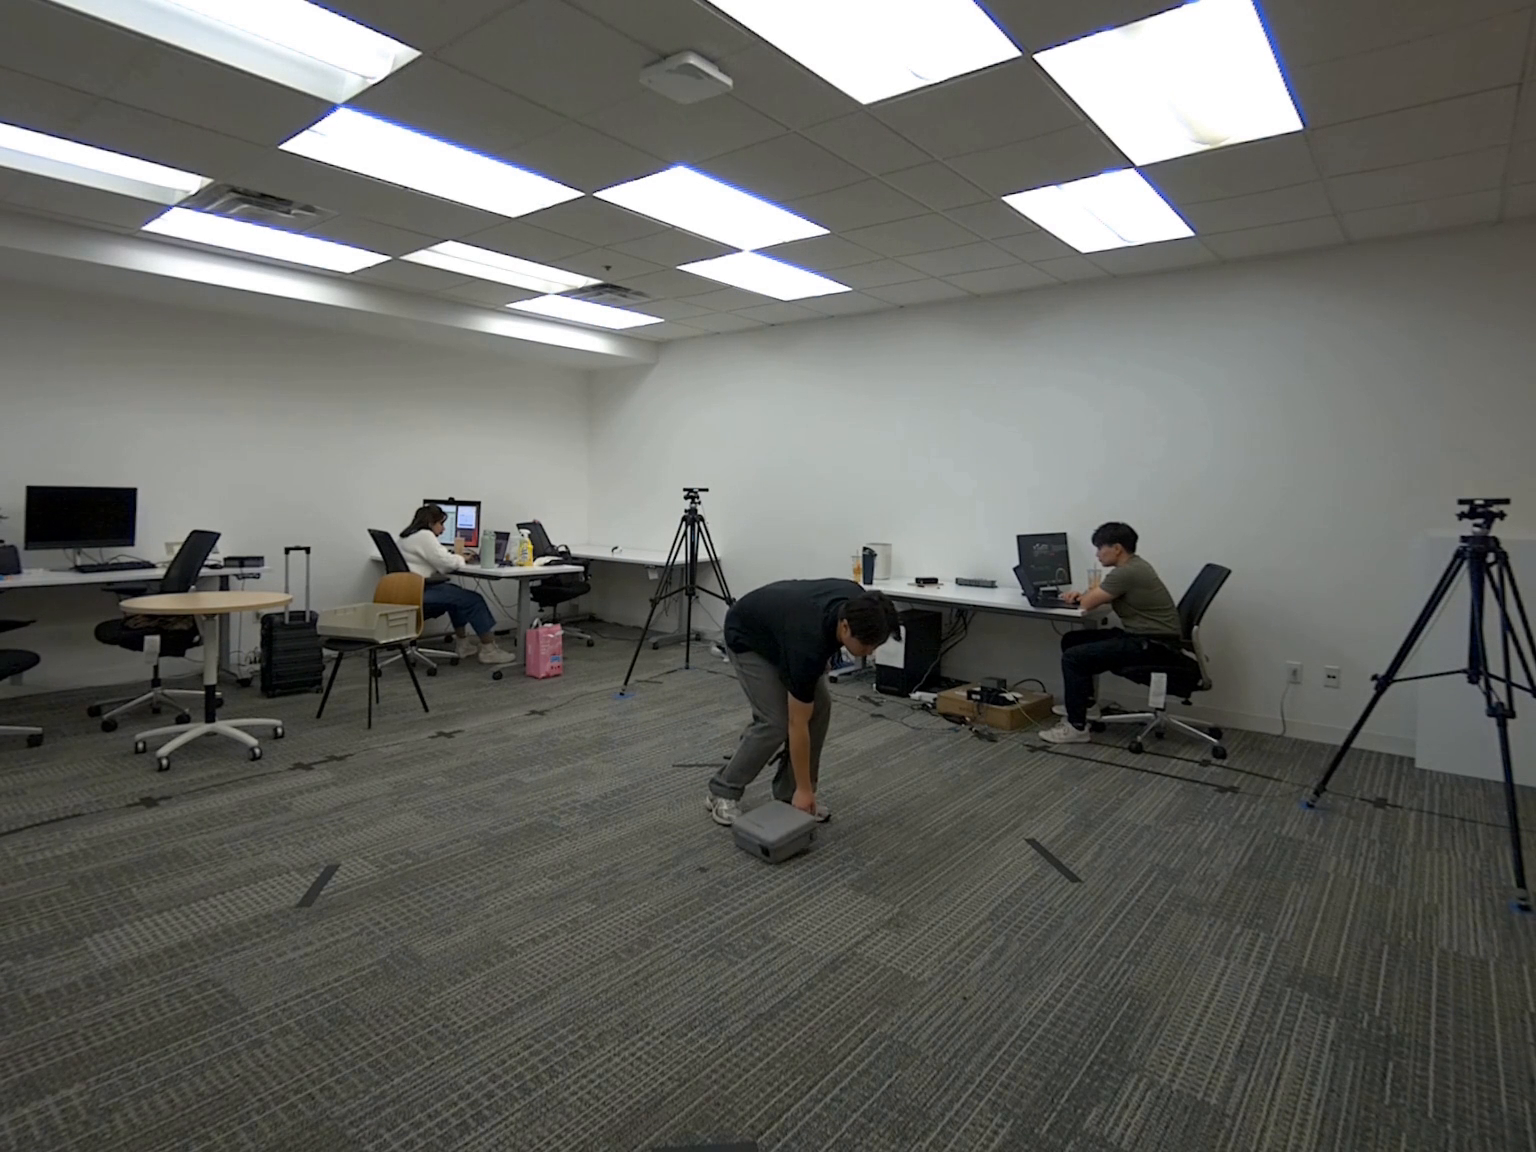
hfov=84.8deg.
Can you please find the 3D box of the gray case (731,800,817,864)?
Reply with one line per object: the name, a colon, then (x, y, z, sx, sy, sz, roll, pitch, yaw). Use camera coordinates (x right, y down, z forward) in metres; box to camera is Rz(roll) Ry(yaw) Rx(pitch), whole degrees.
gray case: (0.020, 0.978, 3.310, 0.280, 0.102, 0.272, -15, 14, -37)
